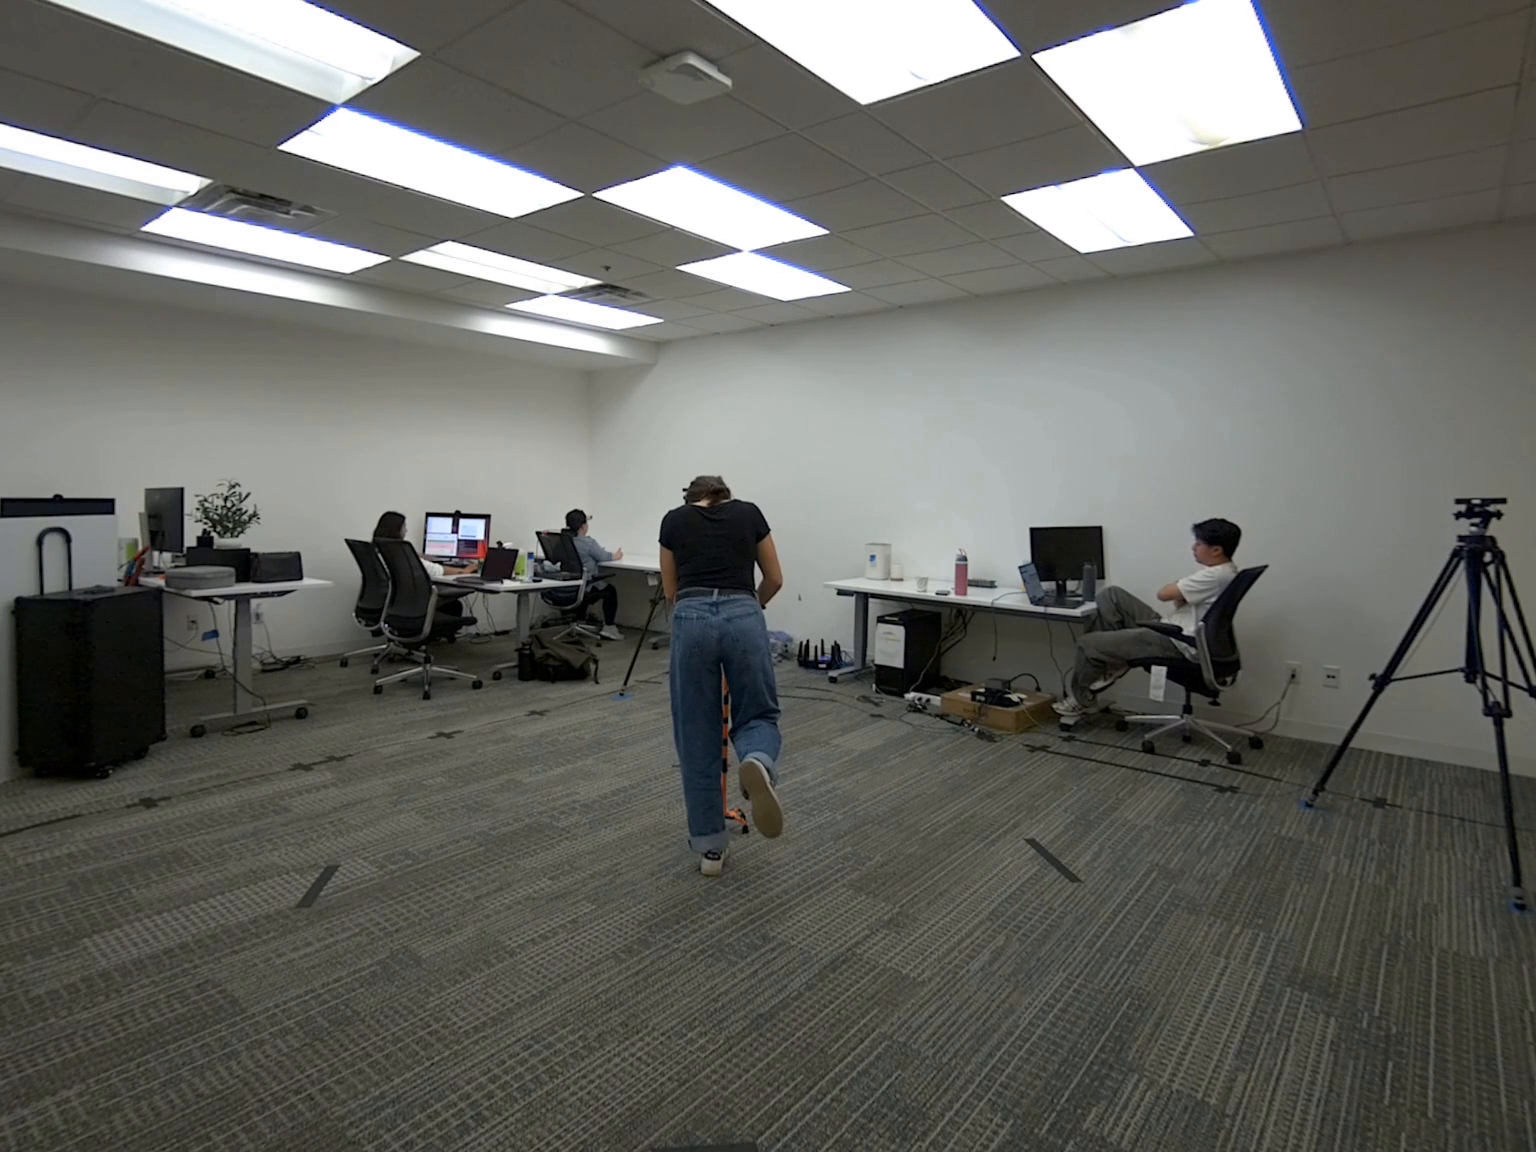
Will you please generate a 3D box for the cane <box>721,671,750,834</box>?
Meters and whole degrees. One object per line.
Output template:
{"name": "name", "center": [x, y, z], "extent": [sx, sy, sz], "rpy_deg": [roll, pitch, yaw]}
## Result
{"name": "cane", "center": [-0.180, 0.579, 3.510], "extent": [0.206, 0.908, 0.152], "rpy_deg": [0, 0, -4]}
